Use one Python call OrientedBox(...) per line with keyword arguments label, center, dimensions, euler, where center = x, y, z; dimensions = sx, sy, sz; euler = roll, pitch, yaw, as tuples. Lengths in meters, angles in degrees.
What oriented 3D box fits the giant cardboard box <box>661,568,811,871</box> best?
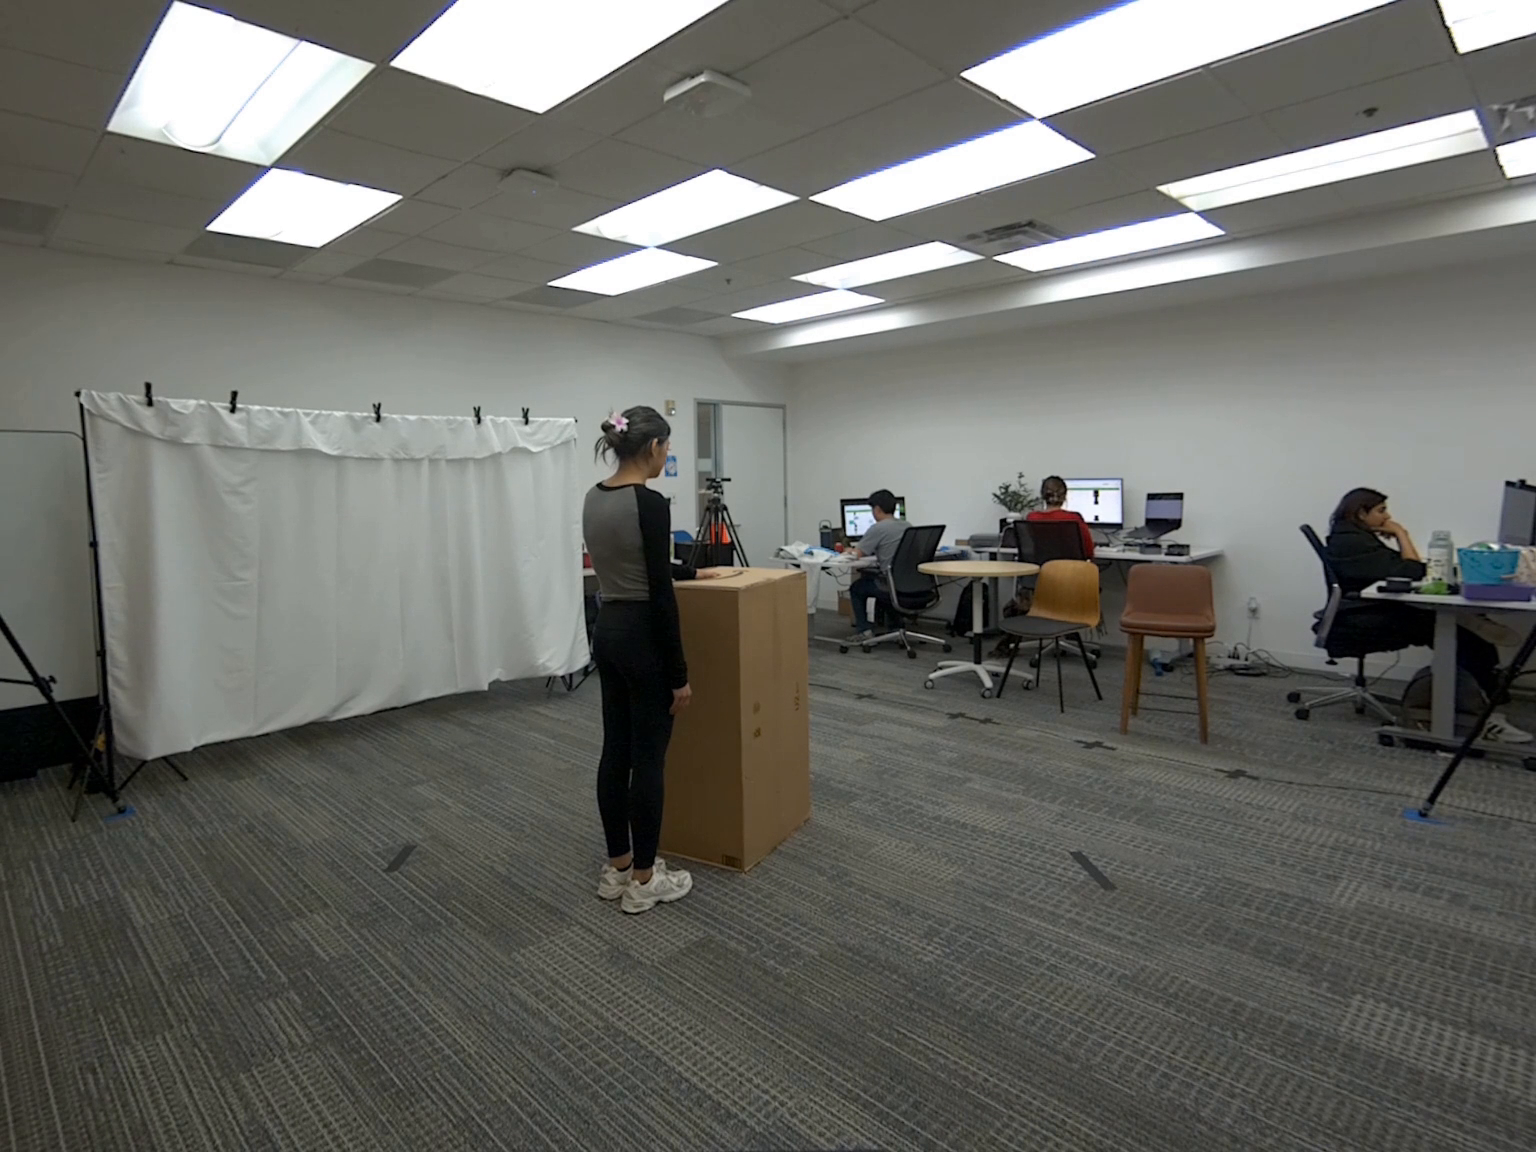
OrientedBox(label="giant cardboard box", center=(-0.149, 0.511, 3.342), dimensions=(0.458, 1.023, 0.572), euler=(2, 5, 27))
